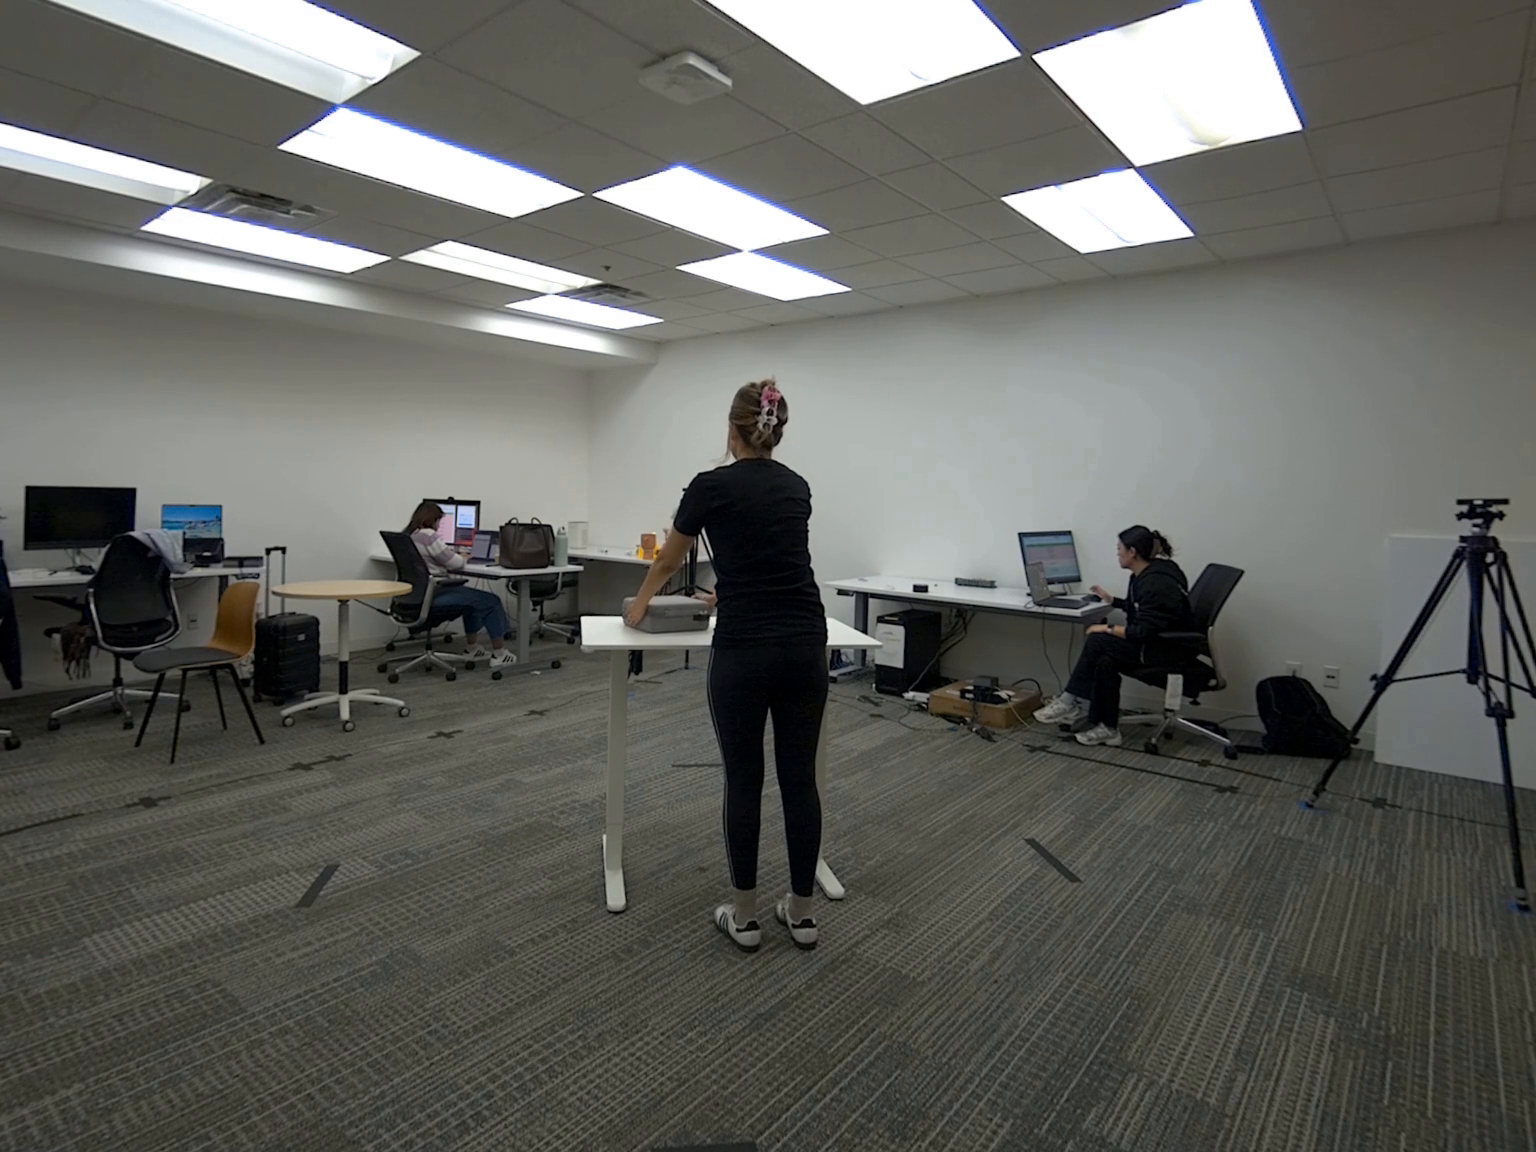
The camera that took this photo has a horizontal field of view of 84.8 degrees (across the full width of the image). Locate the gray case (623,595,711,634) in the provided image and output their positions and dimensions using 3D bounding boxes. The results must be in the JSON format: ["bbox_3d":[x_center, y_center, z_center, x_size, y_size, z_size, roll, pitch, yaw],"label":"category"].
[{"bbox_3d":[-0.386,0.134,3.092,0.250,0.104,0.269,-3,6,-32],"label":"gray case"}]
